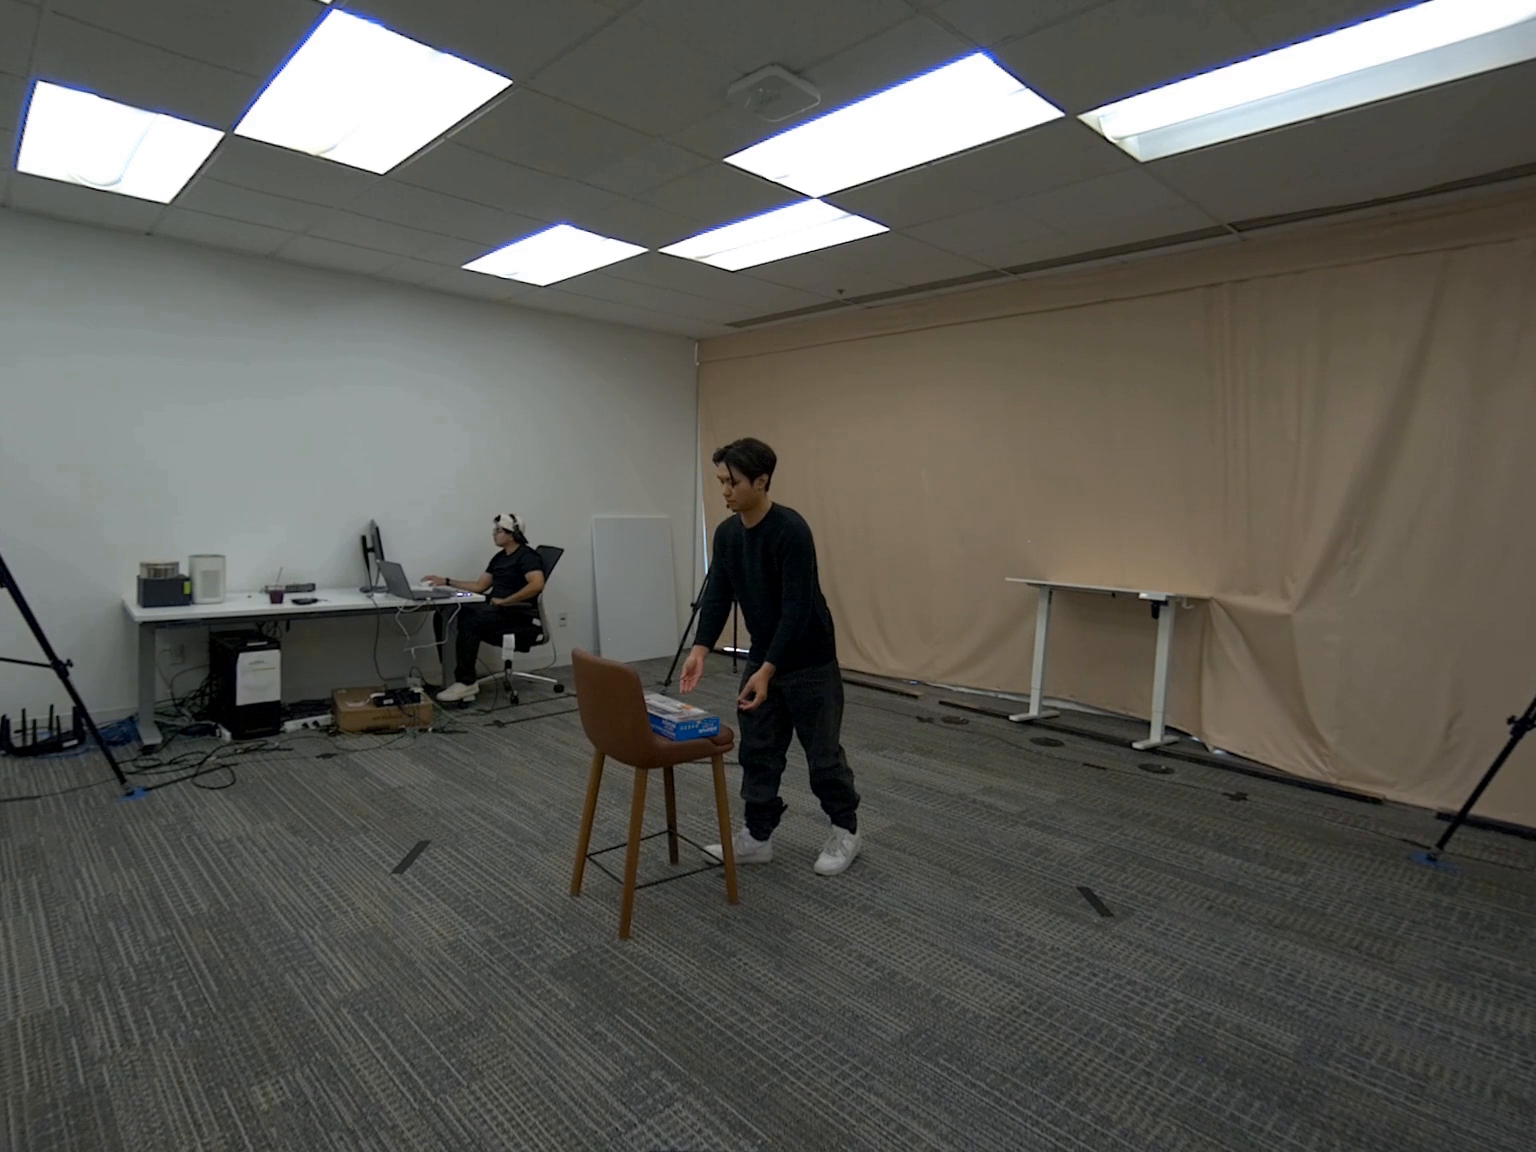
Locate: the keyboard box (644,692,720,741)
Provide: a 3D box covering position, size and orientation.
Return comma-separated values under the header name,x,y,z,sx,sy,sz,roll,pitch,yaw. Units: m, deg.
name,x,y,z,sx,sy,sz,roll,pitch,yaw
keyboard box,-0.367,0.469,2.906,0.172,0.059,0.448,-1,5,-39
